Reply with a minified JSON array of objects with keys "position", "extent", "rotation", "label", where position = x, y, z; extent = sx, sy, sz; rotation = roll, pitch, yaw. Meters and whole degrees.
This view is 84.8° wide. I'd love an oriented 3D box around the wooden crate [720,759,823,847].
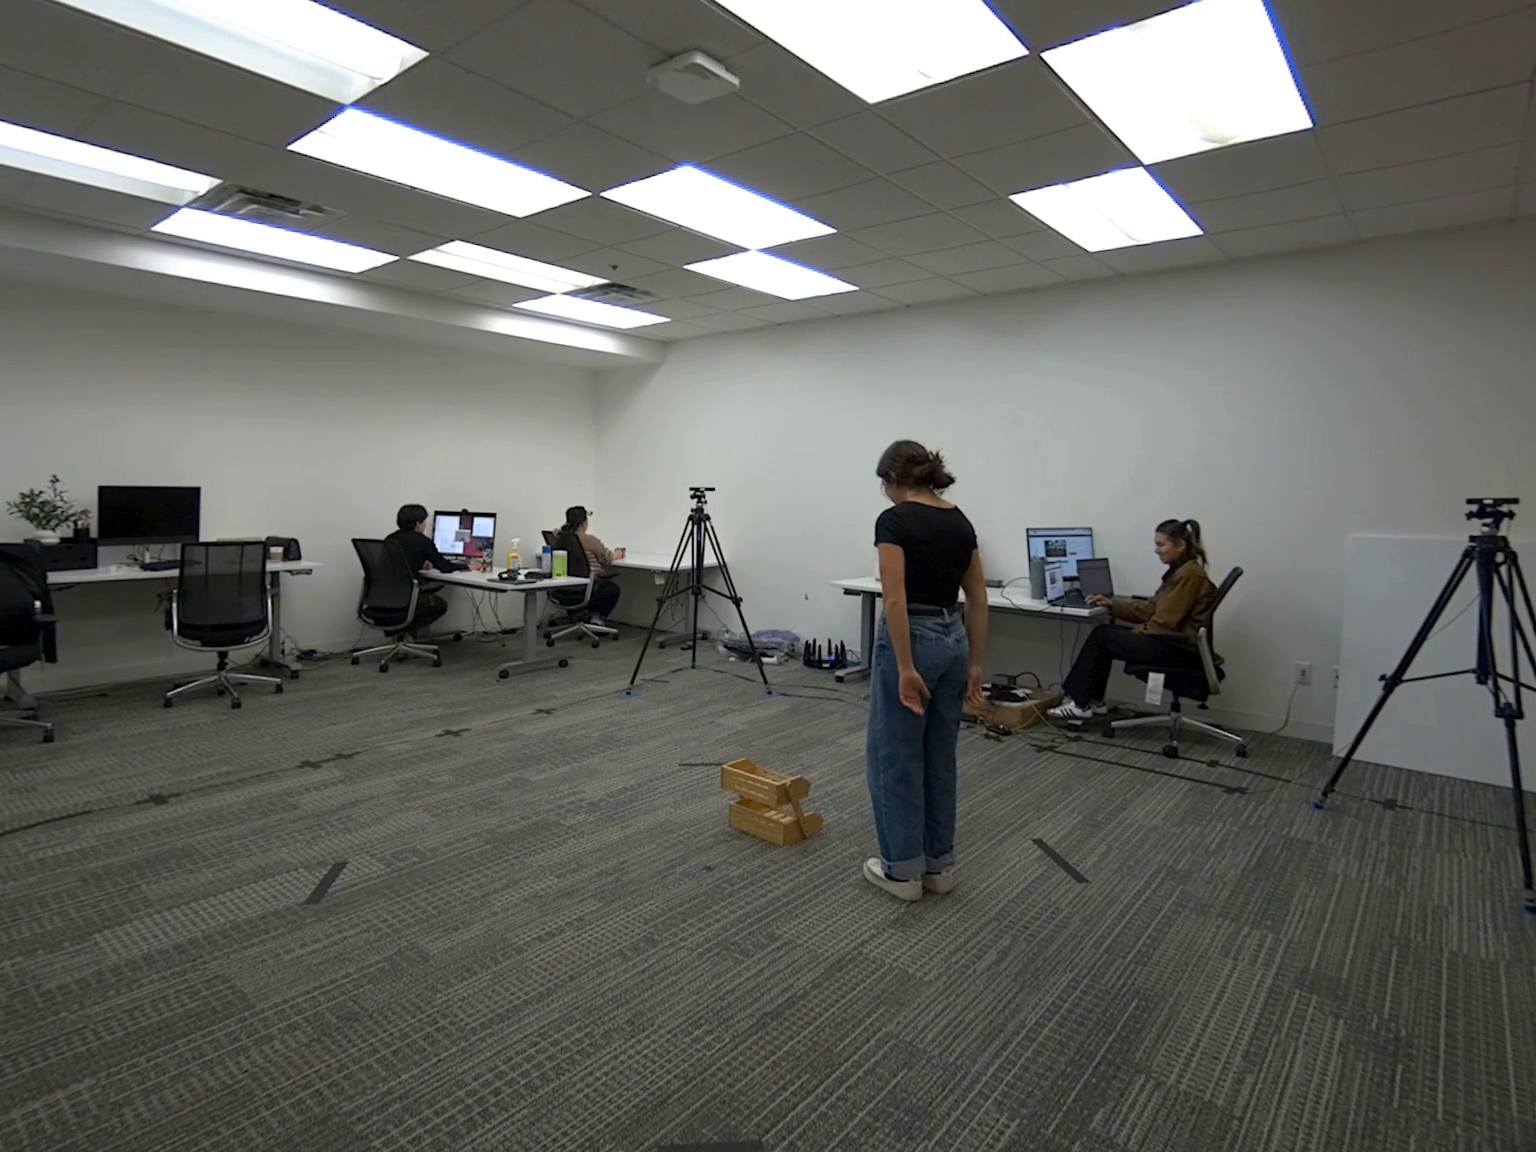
[{"position":[0.011,0.901,3.480],"extent":[0.335,0.272,0.293],"rotation":[5,6,42],"label":"wooden crate"}]
